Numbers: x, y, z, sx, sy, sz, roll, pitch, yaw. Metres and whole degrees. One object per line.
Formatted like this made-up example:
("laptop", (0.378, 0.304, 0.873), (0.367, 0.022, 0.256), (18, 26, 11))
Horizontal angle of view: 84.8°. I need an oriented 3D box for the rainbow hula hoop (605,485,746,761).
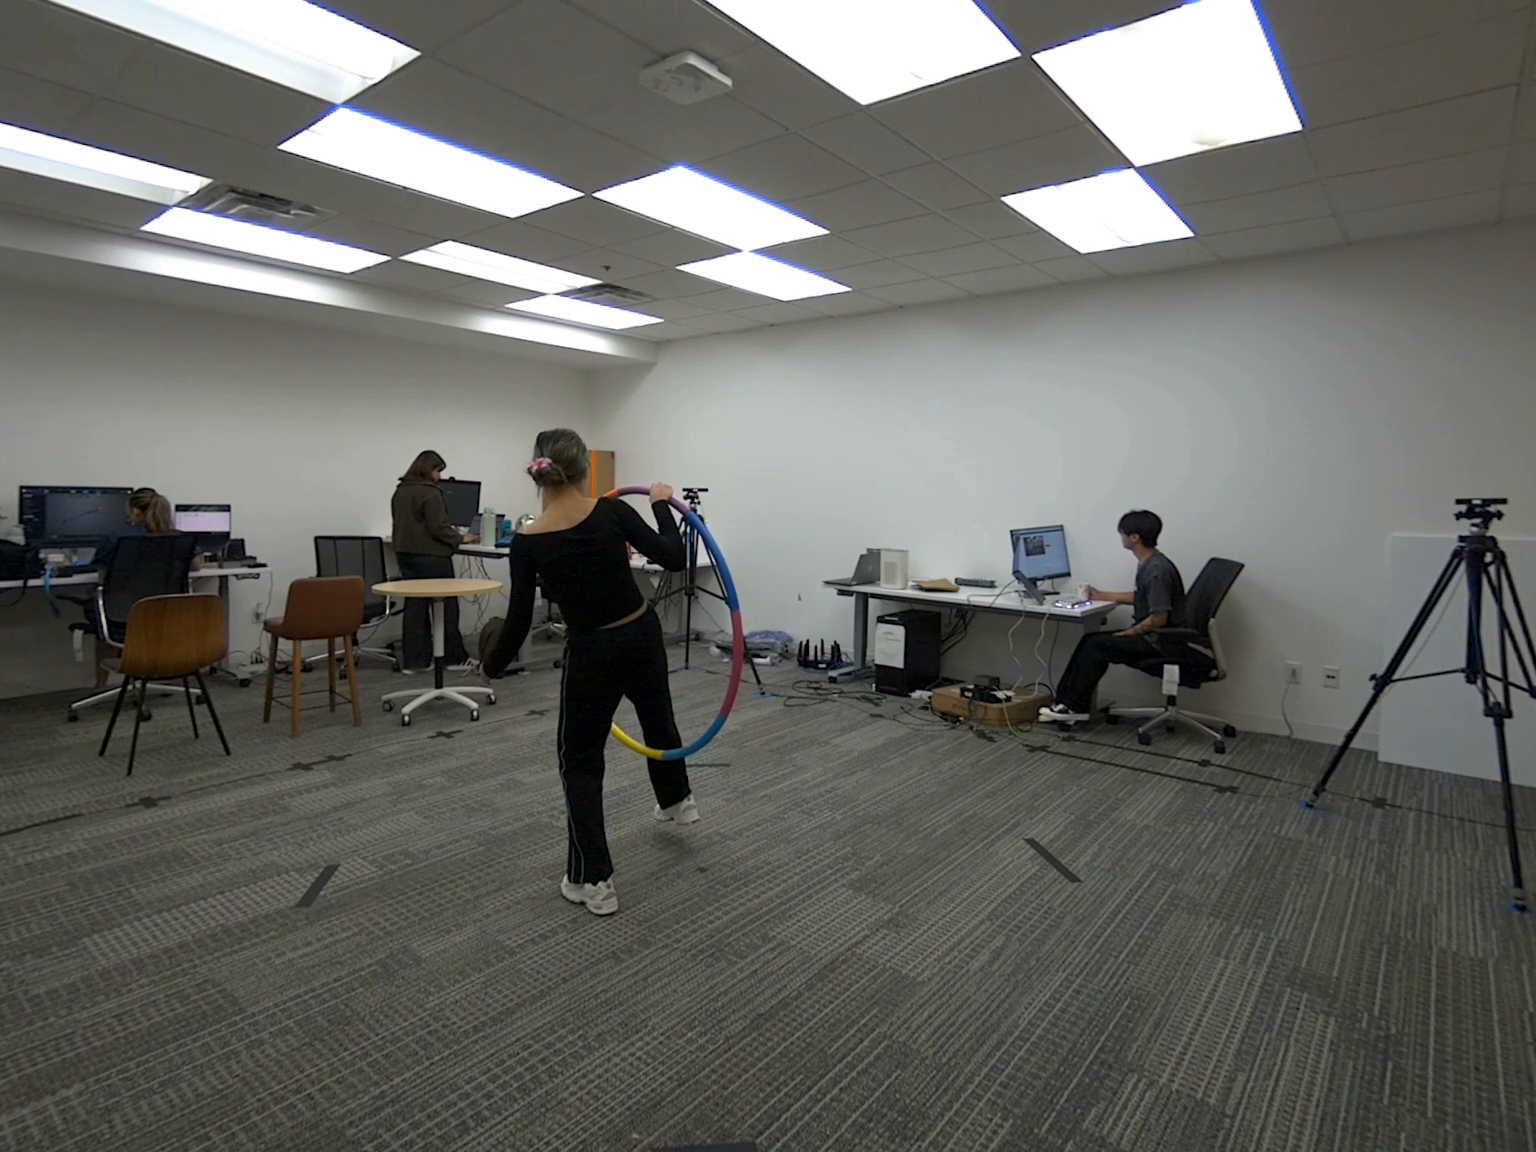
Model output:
("rainbow hula hoop", (-0.469, 0.162, 3.076), (1.012, 0.974, 0.034), (5, 7, 43))
